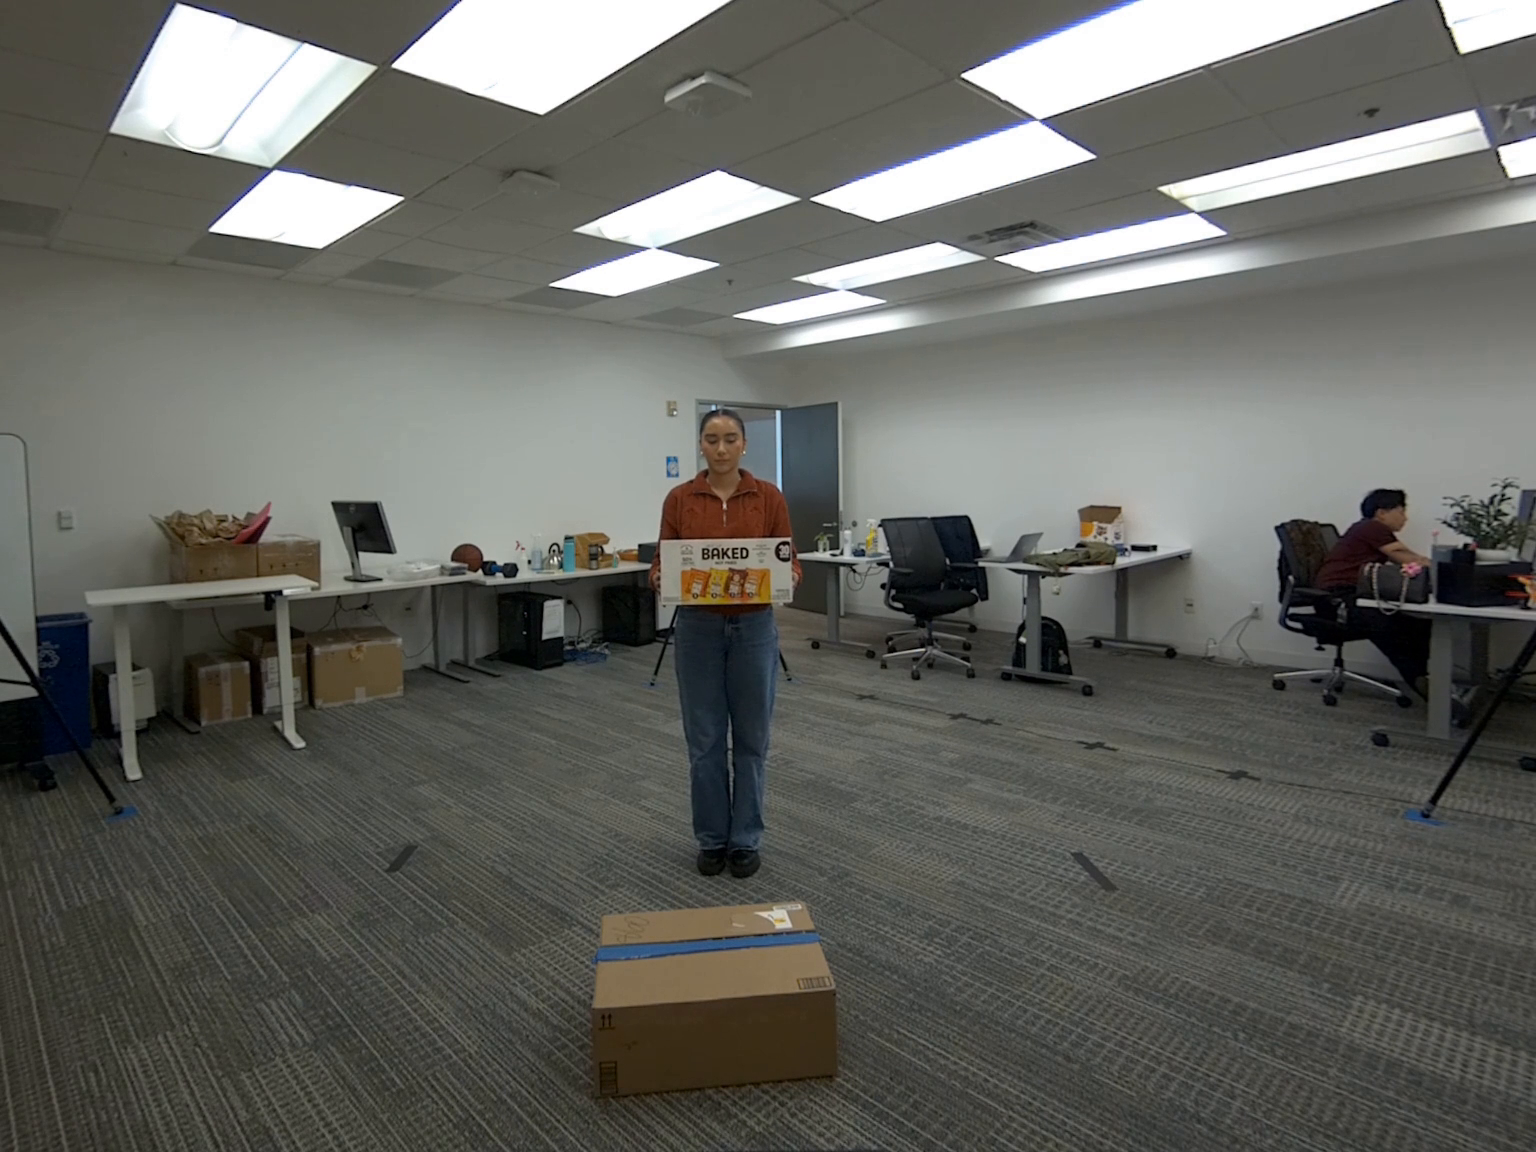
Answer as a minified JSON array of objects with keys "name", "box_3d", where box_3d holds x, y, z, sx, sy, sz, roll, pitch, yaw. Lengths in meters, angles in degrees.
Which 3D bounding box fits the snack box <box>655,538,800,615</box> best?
[{"name":"snack box","box_3d":[-0.142,-0.009,2.803,0.405,0.206,0.340,-1,-1,-1]}]
